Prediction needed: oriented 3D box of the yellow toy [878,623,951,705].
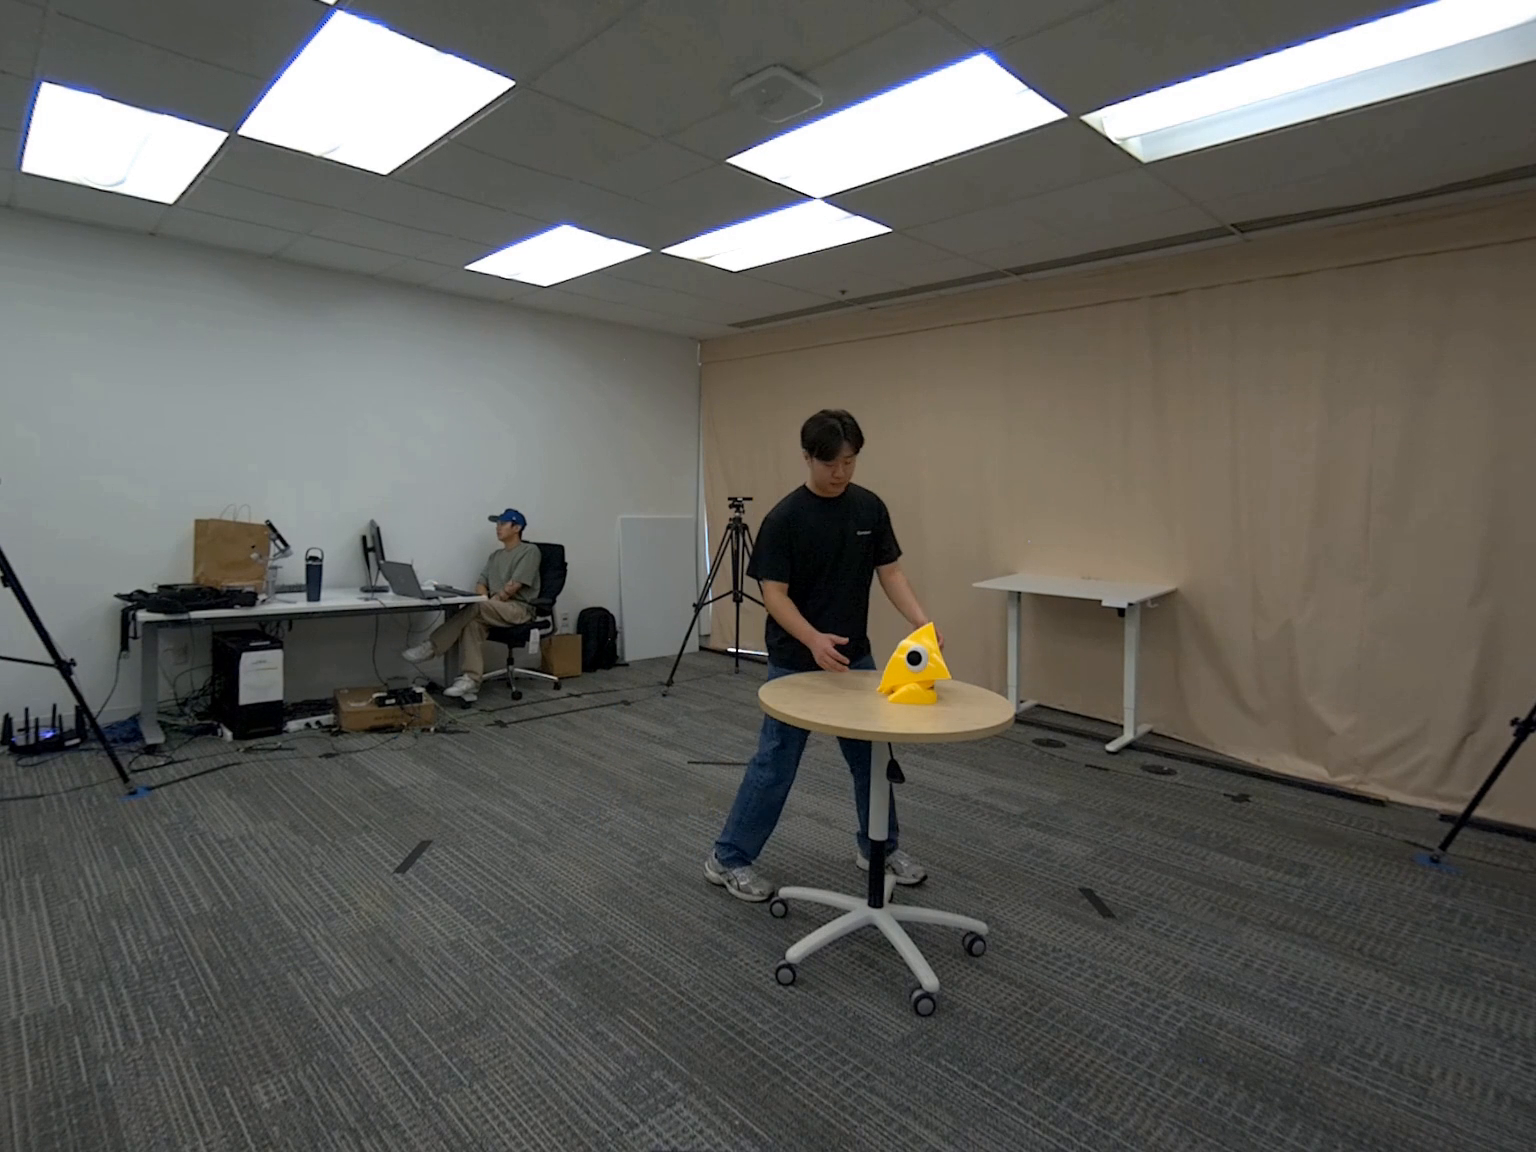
[{"bbox_3d":[0.435,0.258,2.588,0.192,0.230,0.206,2,4,-7],"label":"yellow toy"}]
